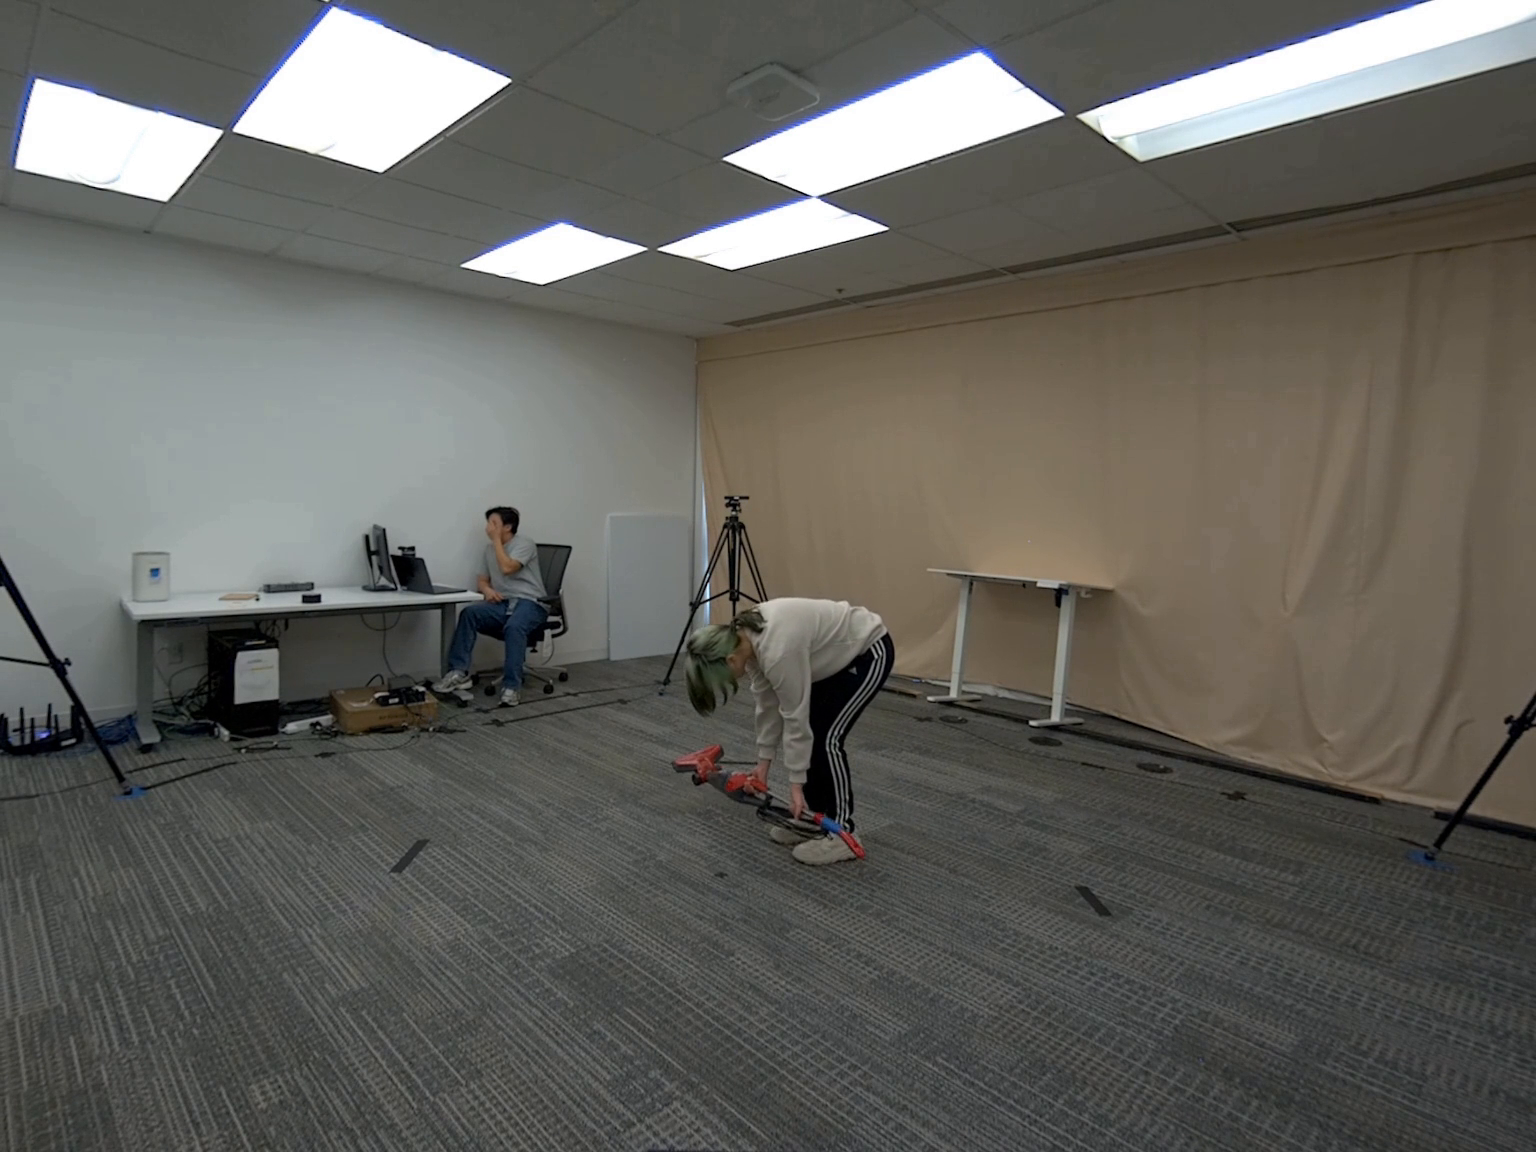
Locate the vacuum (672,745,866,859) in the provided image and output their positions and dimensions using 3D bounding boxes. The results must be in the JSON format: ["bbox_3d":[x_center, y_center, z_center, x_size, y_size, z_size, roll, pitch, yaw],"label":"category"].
[{"bbox_3d":[0.001,0.883,3.275,0.248,0.143,1.075,-7,10,-33],"label":"vacuum"}]
